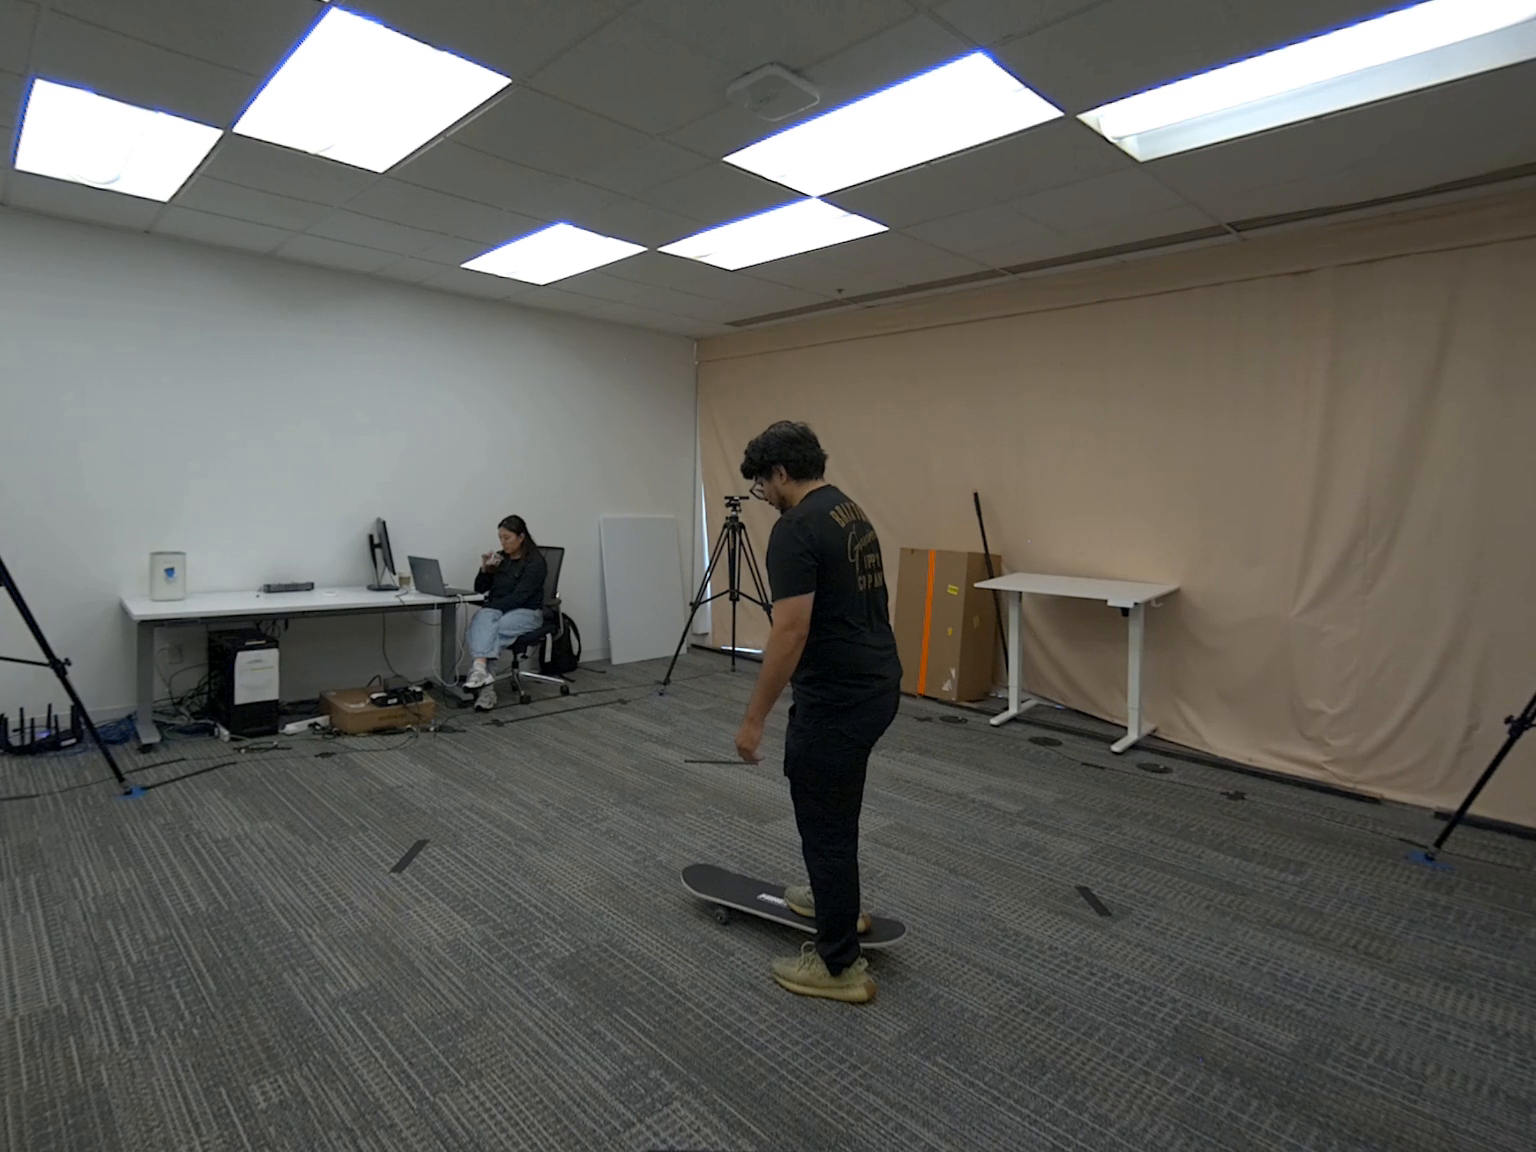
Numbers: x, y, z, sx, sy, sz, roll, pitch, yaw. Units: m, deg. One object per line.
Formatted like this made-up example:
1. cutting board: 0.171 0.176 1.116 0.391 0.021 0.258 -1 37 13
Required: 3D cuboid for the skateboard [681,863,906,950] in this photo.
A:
1. skateboard: 0.049 1.094 2.706 0.803 0.110 0.190 5 6 30
